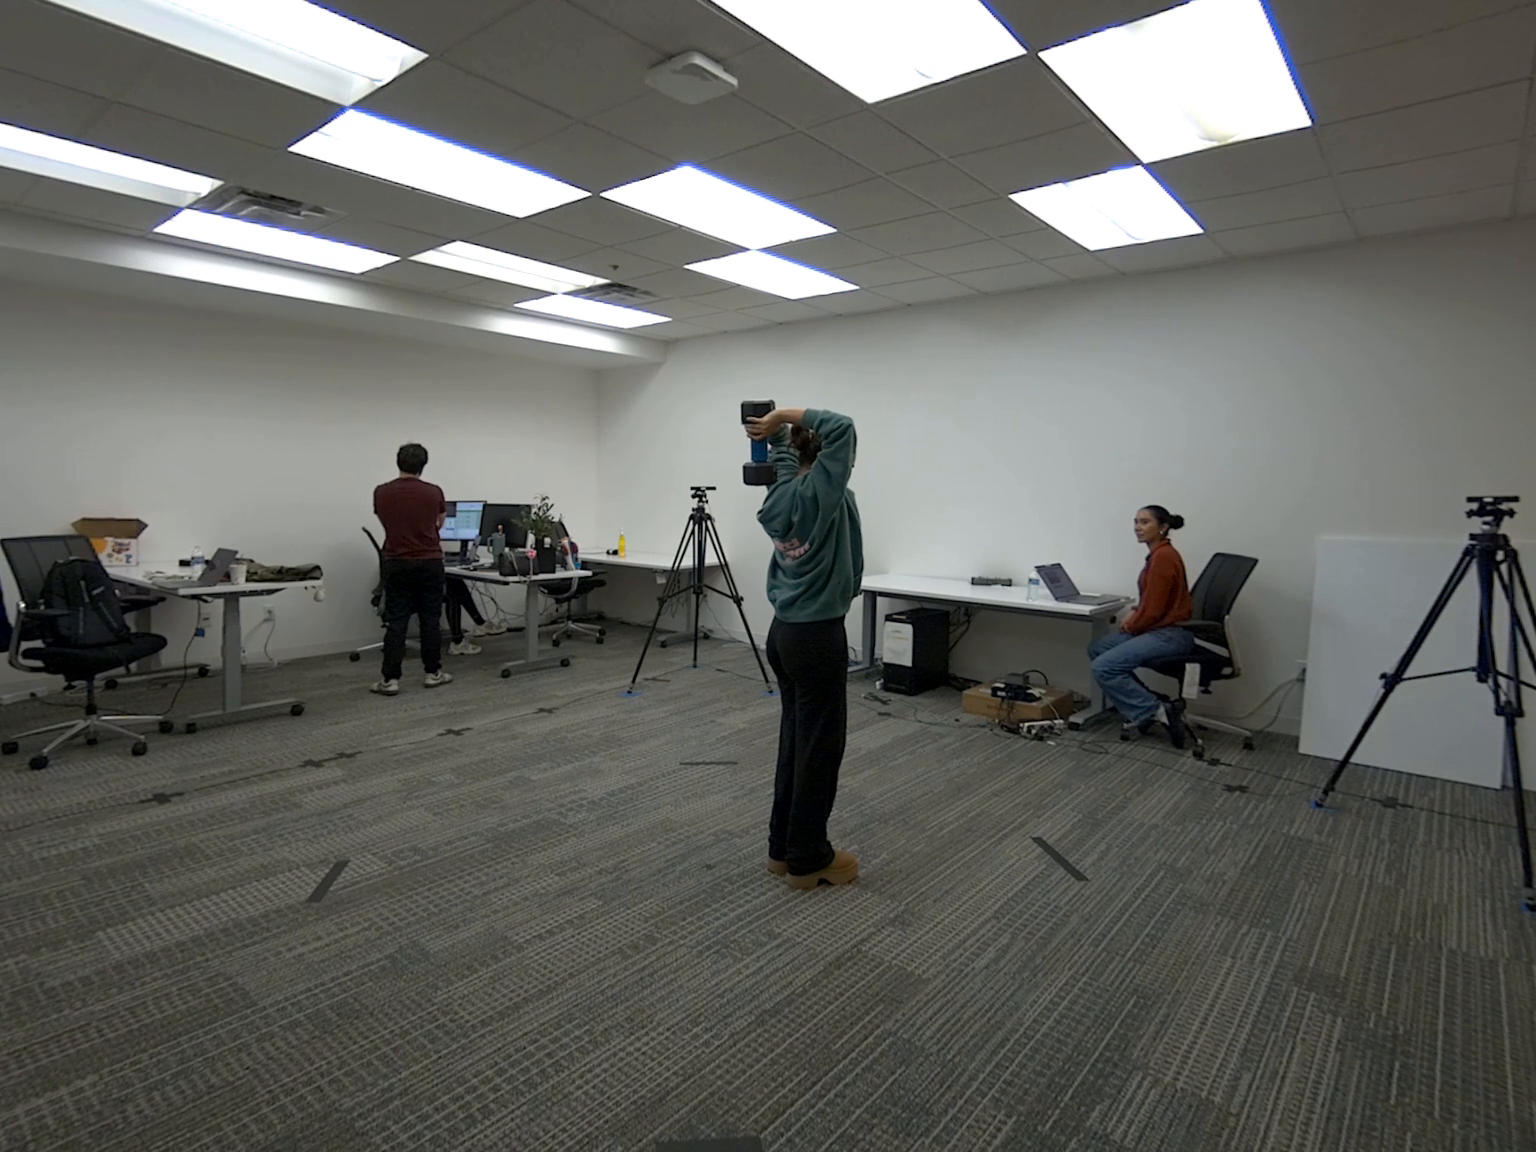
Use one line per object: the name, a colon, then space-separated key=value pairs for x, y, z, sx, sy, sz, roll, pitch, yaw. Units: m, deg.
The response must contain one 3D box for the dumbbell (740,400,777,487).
dumbbell: x=-0.033 y=-0.466 z=2.941 sx=0.122 sy=0.291 sz=0.110 roll=-3 pitch=8 yaw=-7
